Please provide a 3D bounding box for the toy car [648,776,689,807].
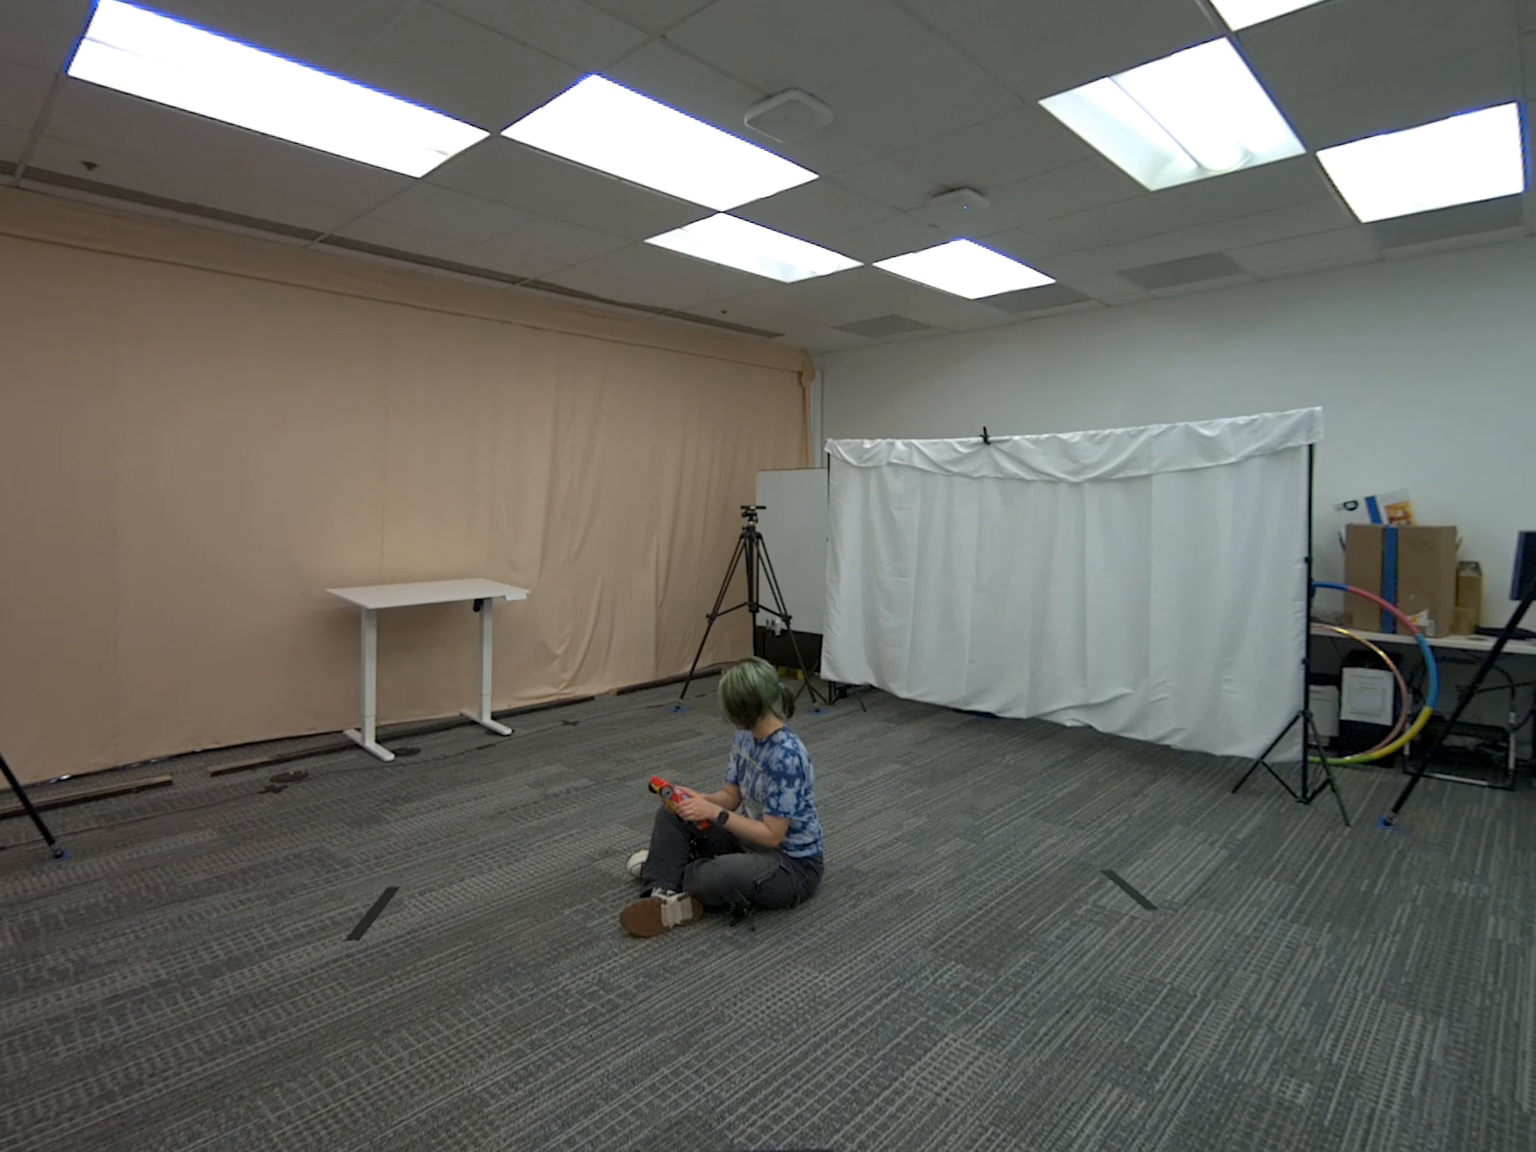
[{"bbox_3d":[-0.295,0.788,2.886,0.248,0.083,0.133,39,-19,-21],"label":"toy car"}]
